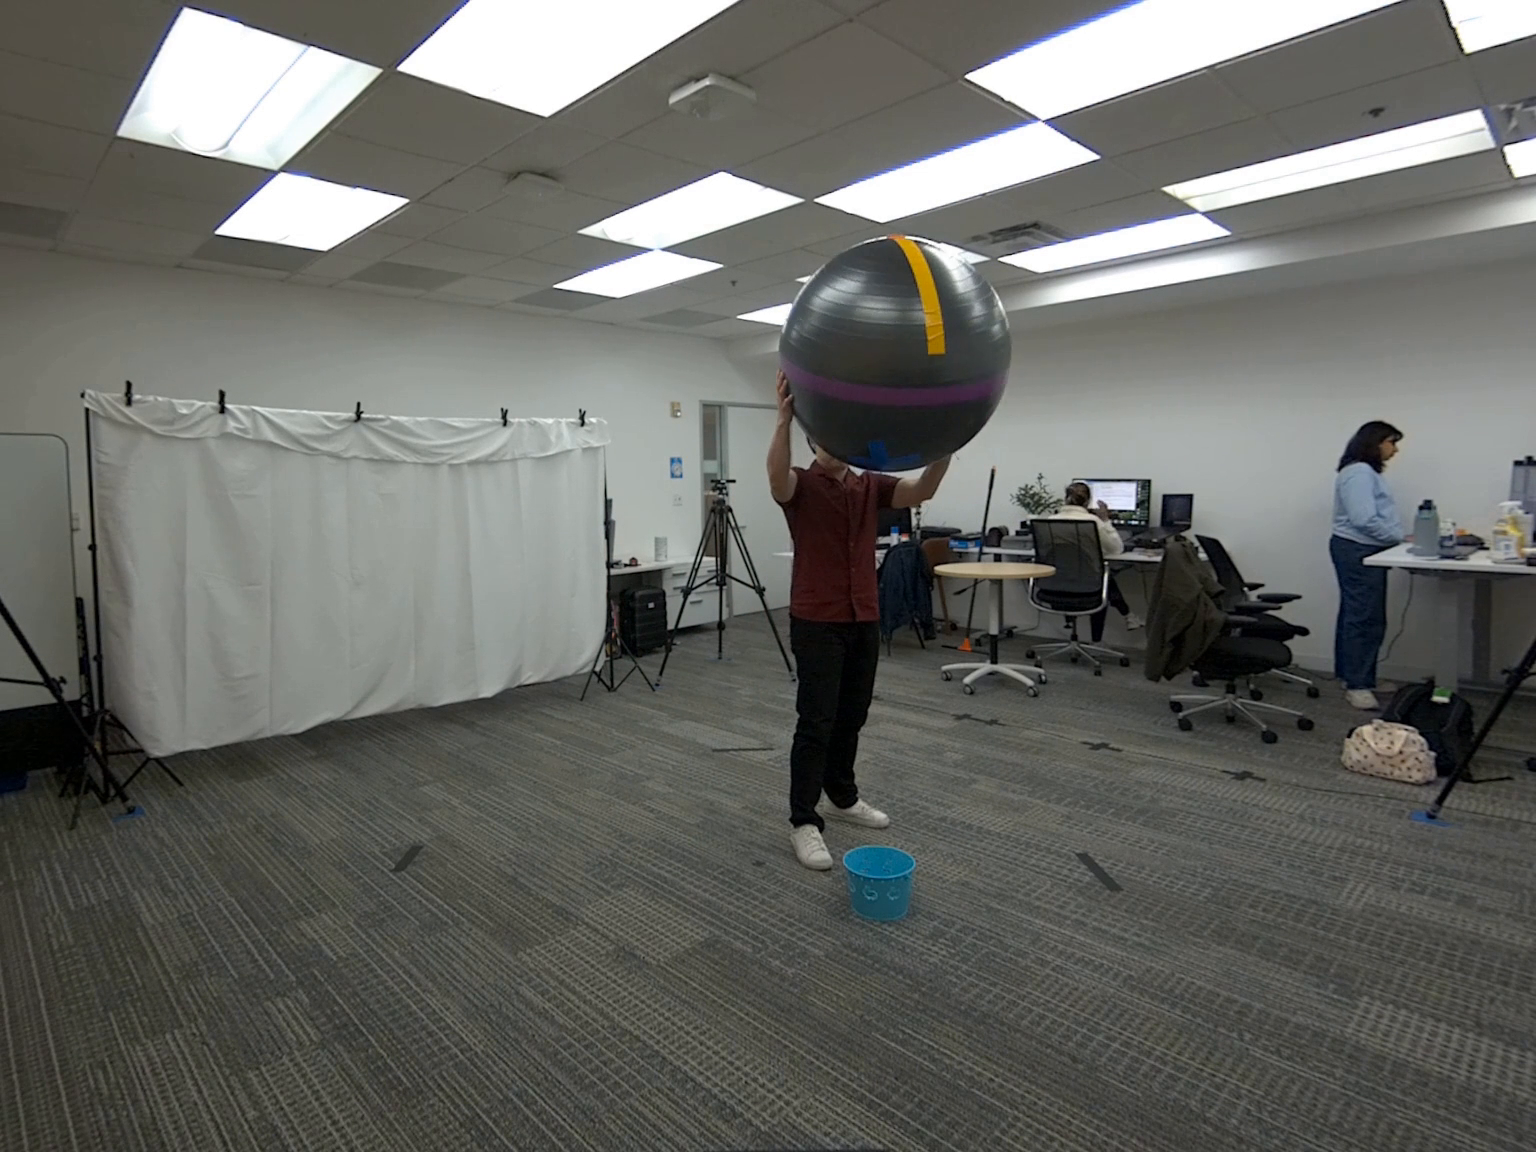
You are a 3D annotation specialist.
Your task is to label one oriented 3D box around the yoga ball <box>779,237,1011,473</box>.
[{"bbox_3d":[0.416,-0.719,2.842,0.757,0.755,0.762,-1,5,-2],"label":"yoga ball"}]
